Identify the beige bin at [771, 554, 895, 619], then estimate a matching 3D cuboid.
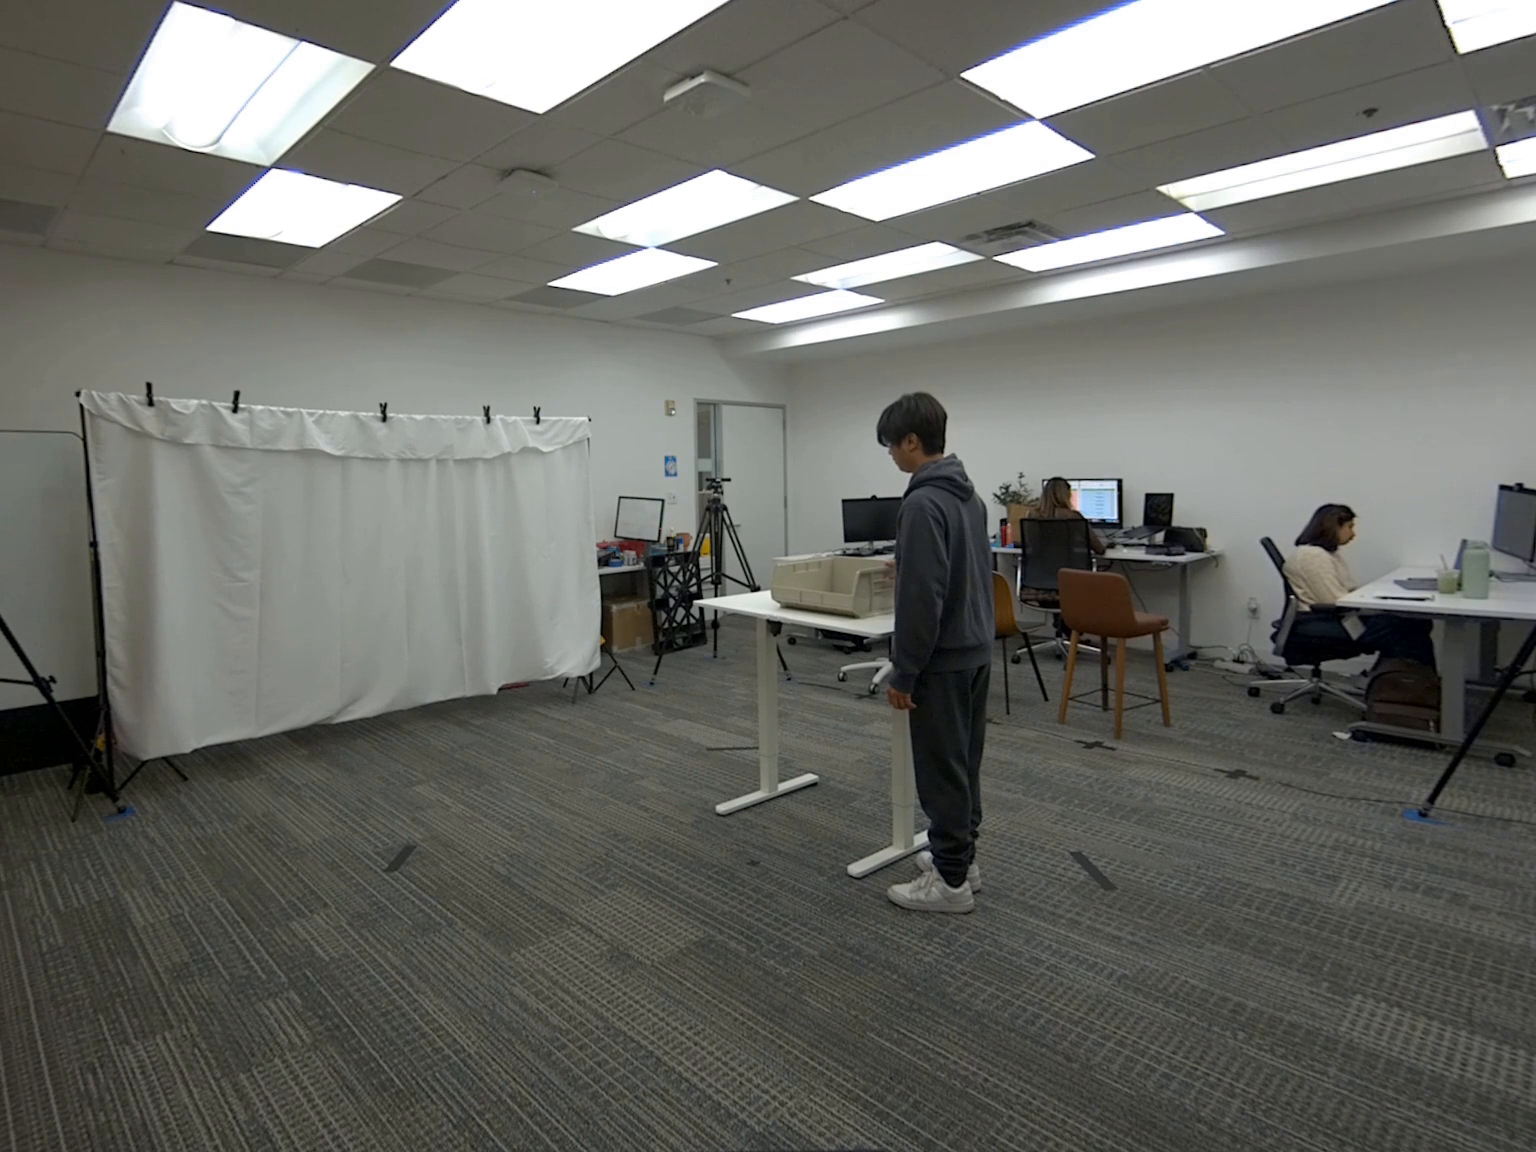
[{"bbox_3d":[0.288,0.039,3.333,0.367,0.188,0.435,-6,8,-44],"label":"beige bin"}]
